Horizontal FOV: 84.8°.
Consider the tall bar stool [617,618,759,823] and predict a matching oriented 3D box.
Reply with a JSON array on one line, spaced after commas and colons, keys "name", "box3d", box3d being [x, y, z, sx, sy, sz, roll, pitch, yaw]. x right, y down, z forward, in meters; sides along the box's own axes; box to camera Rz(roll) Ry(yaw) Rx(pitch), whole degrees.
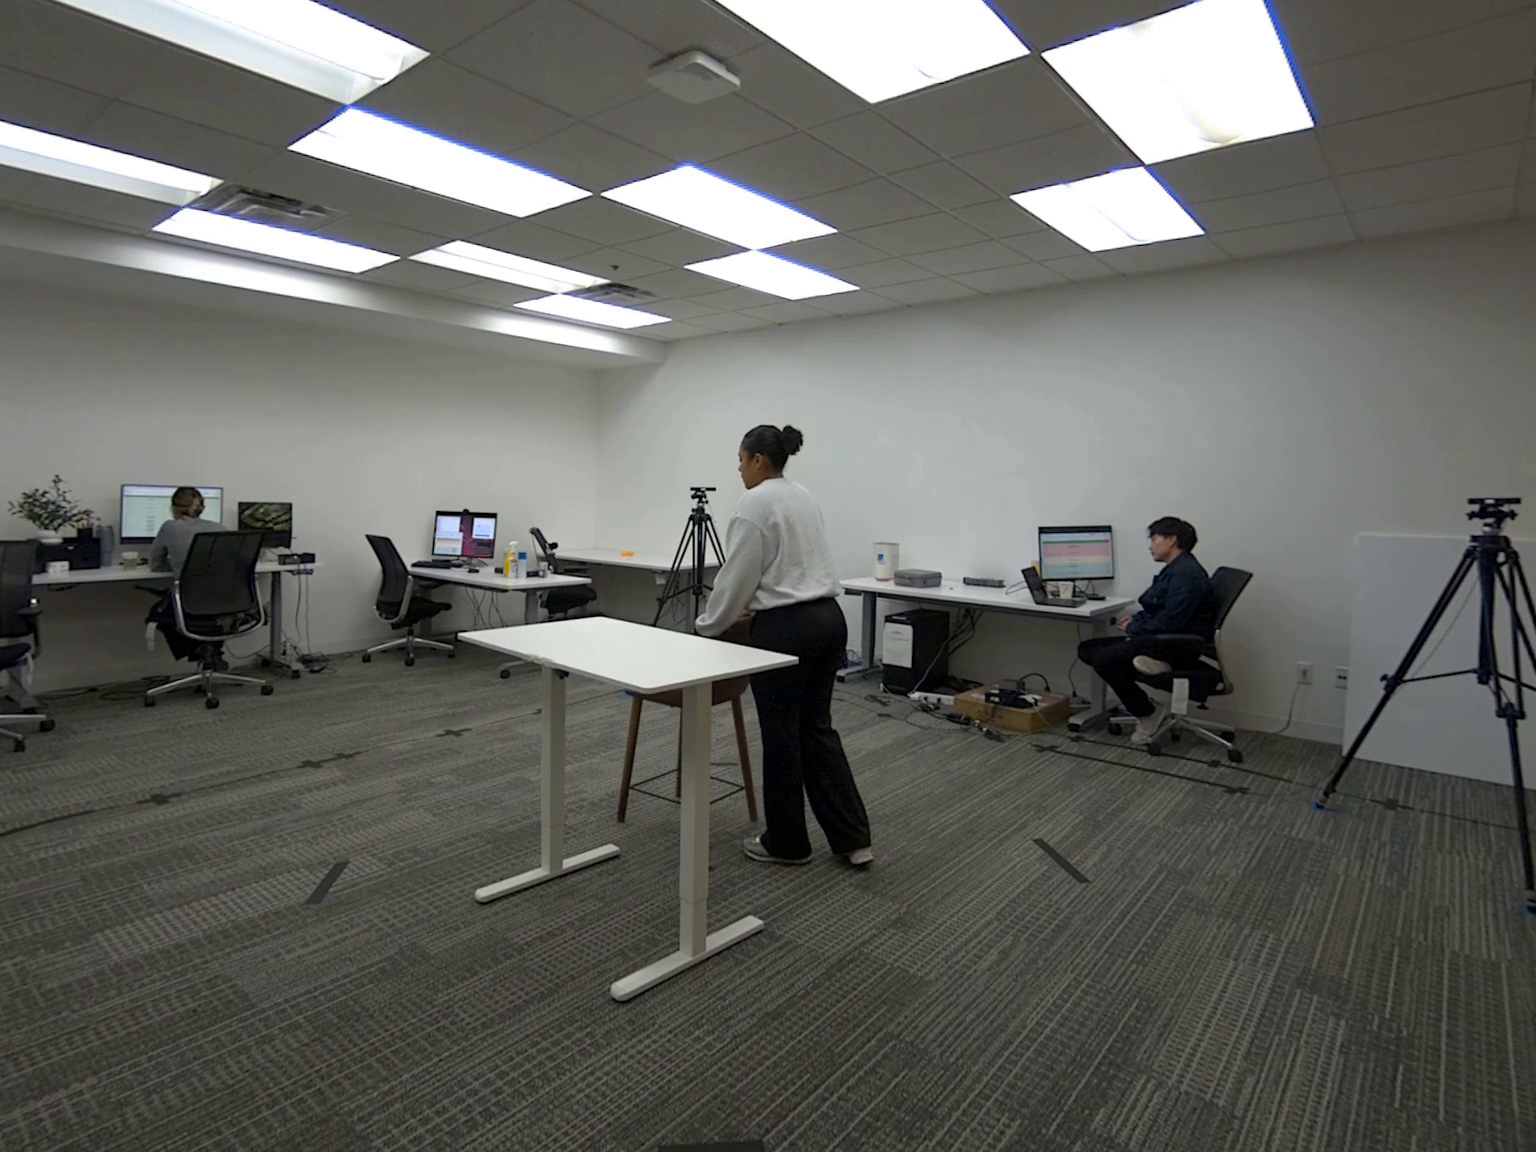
[{"name": "tall bar stool", "box3d": [-0.327, 0.587, 3.535, 0.483, 0.887, 0.443, 5, 4, 36]}]
